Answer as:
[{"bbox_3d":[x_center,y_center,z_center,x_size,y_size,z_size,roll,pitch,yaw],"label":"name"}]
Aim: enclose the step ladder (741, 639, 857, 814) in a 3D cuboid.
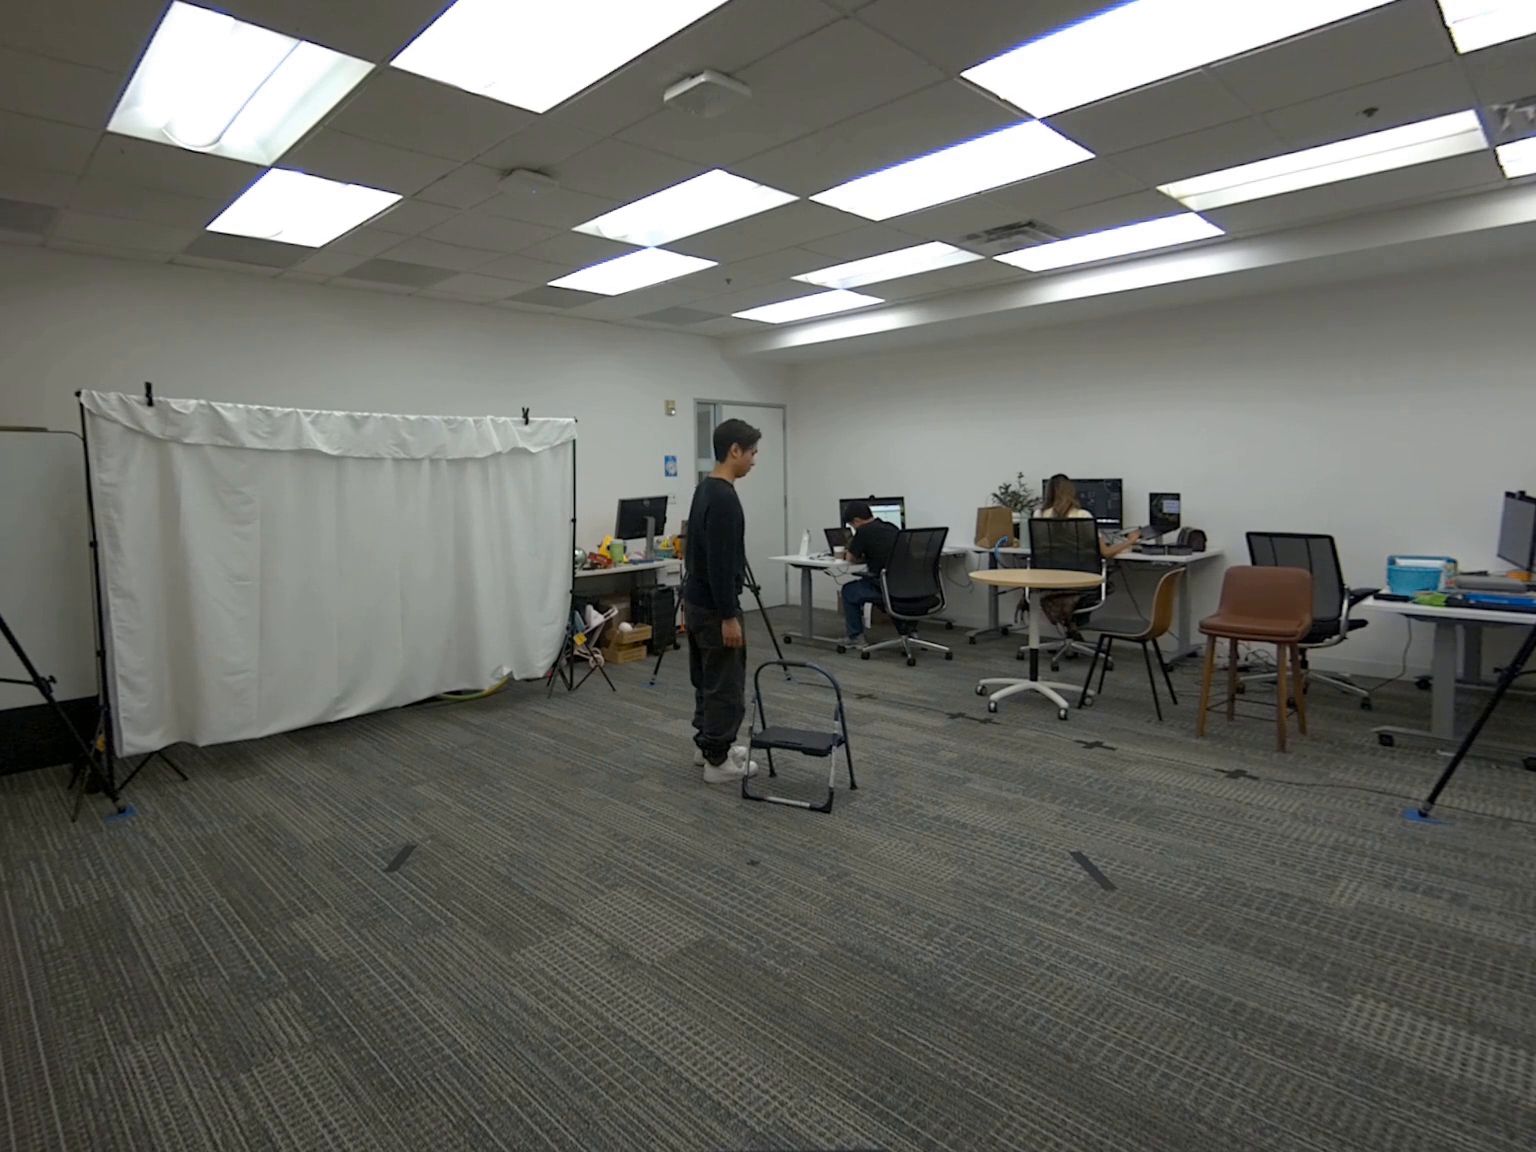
[{"bbox_3d":[0.137,0.661,3.771,0.441,0.604,0.342,1,4,26],"label":"step ladder"}]
